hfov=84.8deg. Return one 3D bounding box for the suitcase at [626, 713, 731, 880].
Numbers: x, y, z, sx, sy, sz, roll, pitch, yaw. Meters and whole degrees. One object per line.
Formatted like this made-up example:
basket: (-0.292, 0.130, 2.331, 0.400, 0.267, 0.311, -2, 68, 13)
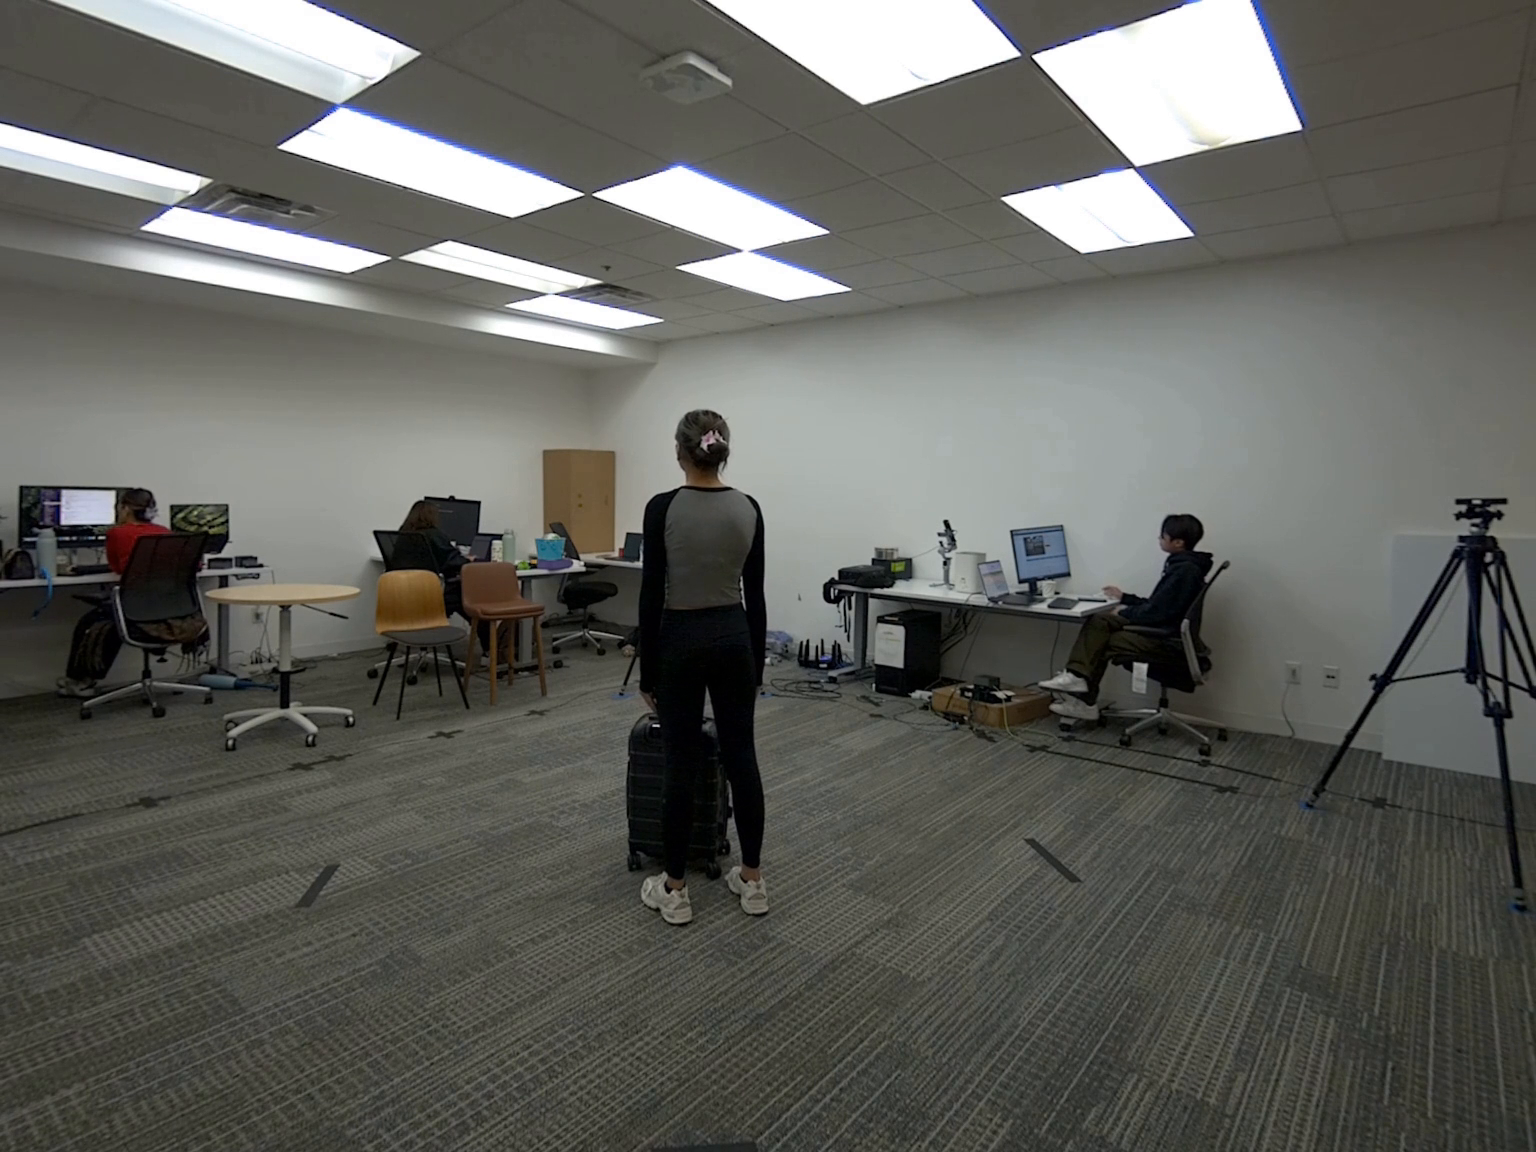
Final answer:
suitcase: (-0.345, 0.784, 3.186, 0.380, 0.549, 0.245, 1, 1, 11)
